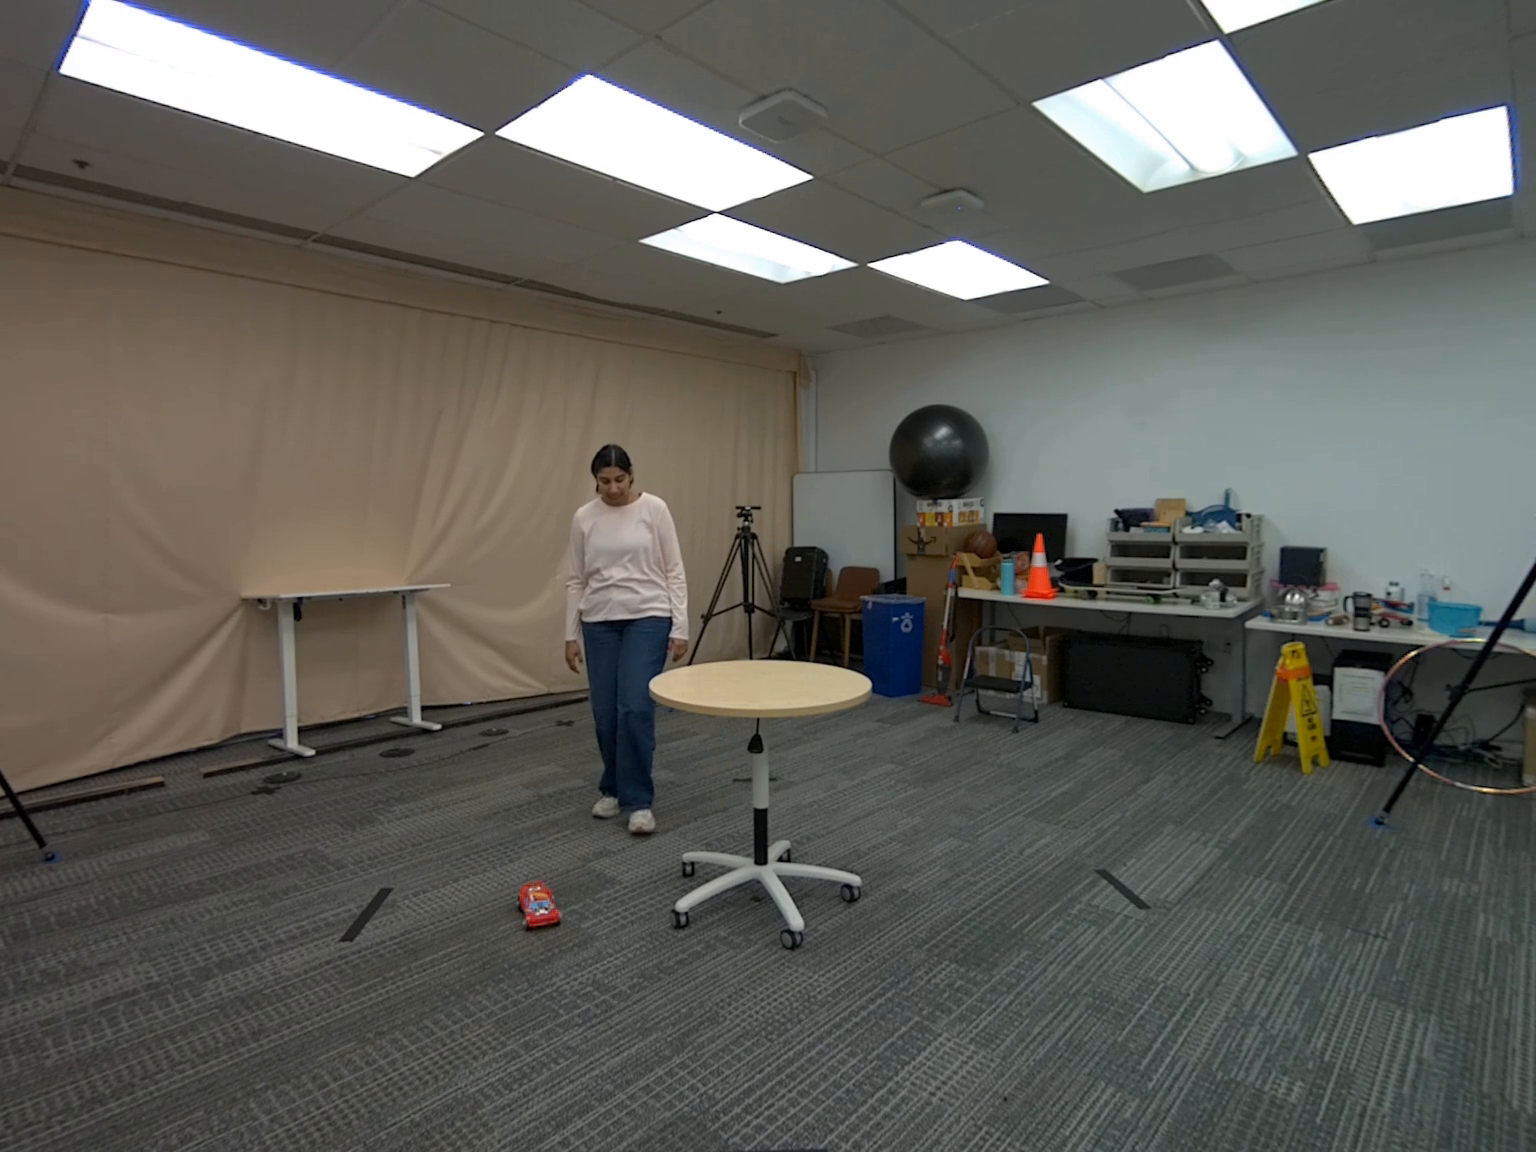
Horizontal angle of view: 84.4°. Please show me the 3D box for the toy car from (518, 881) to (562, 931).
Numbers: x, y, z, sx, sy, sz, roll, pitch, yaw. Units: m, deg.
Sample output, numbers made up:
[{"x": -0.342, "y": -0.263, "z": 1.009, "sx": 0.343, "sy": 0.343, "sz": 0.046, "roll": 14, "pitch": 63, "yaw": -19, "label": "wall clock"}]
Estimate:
[{"x": -0.792, "y": 1.125, "z": 2.880, "sx": 0.127, "sy": 0.082, "sz": 0.262, "roll": -2, "pitch": 14, "yaw": -23, "label": "toy car"}]
